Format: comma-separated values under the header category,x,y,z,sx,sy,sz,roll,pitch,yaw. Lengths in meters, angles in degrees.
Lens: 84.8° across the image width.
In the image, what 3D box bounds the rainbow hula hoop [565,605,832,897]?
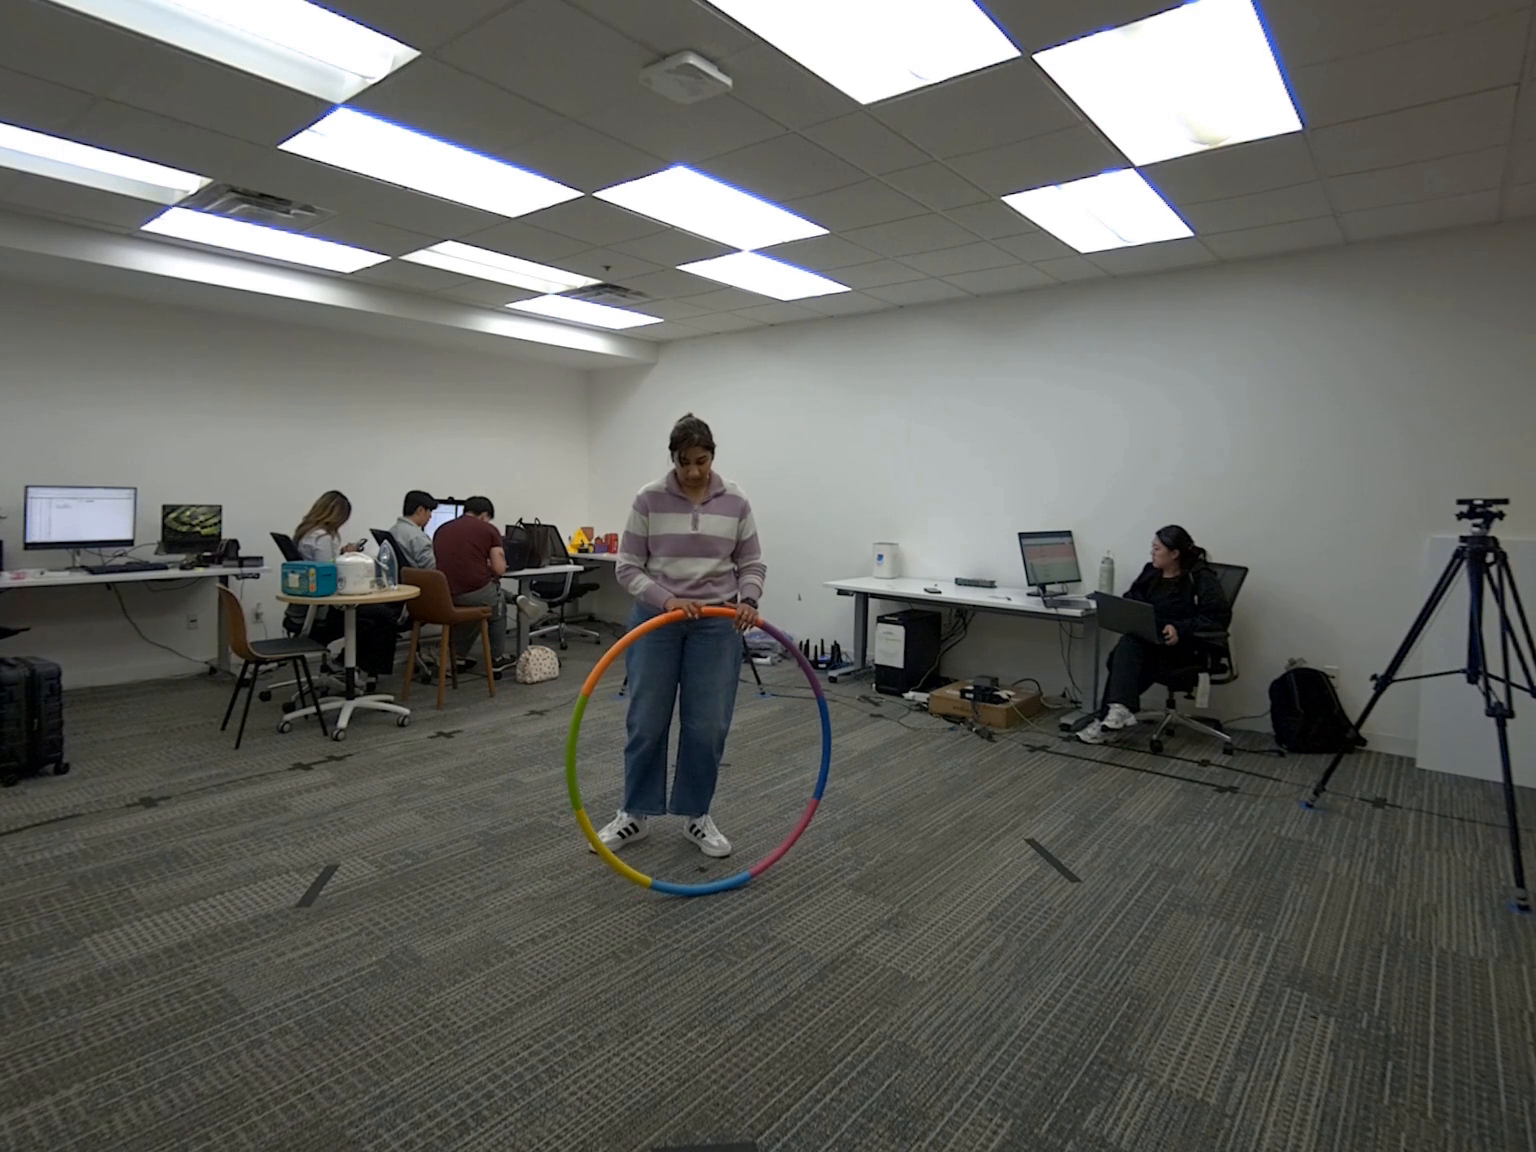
category,x,y,z,sx,sy,sz,roll,pitch,yaw
rainbow hula hoop,-0.223,0.600,2.948,0.964,0.989,0.052,-1,-4,-22
